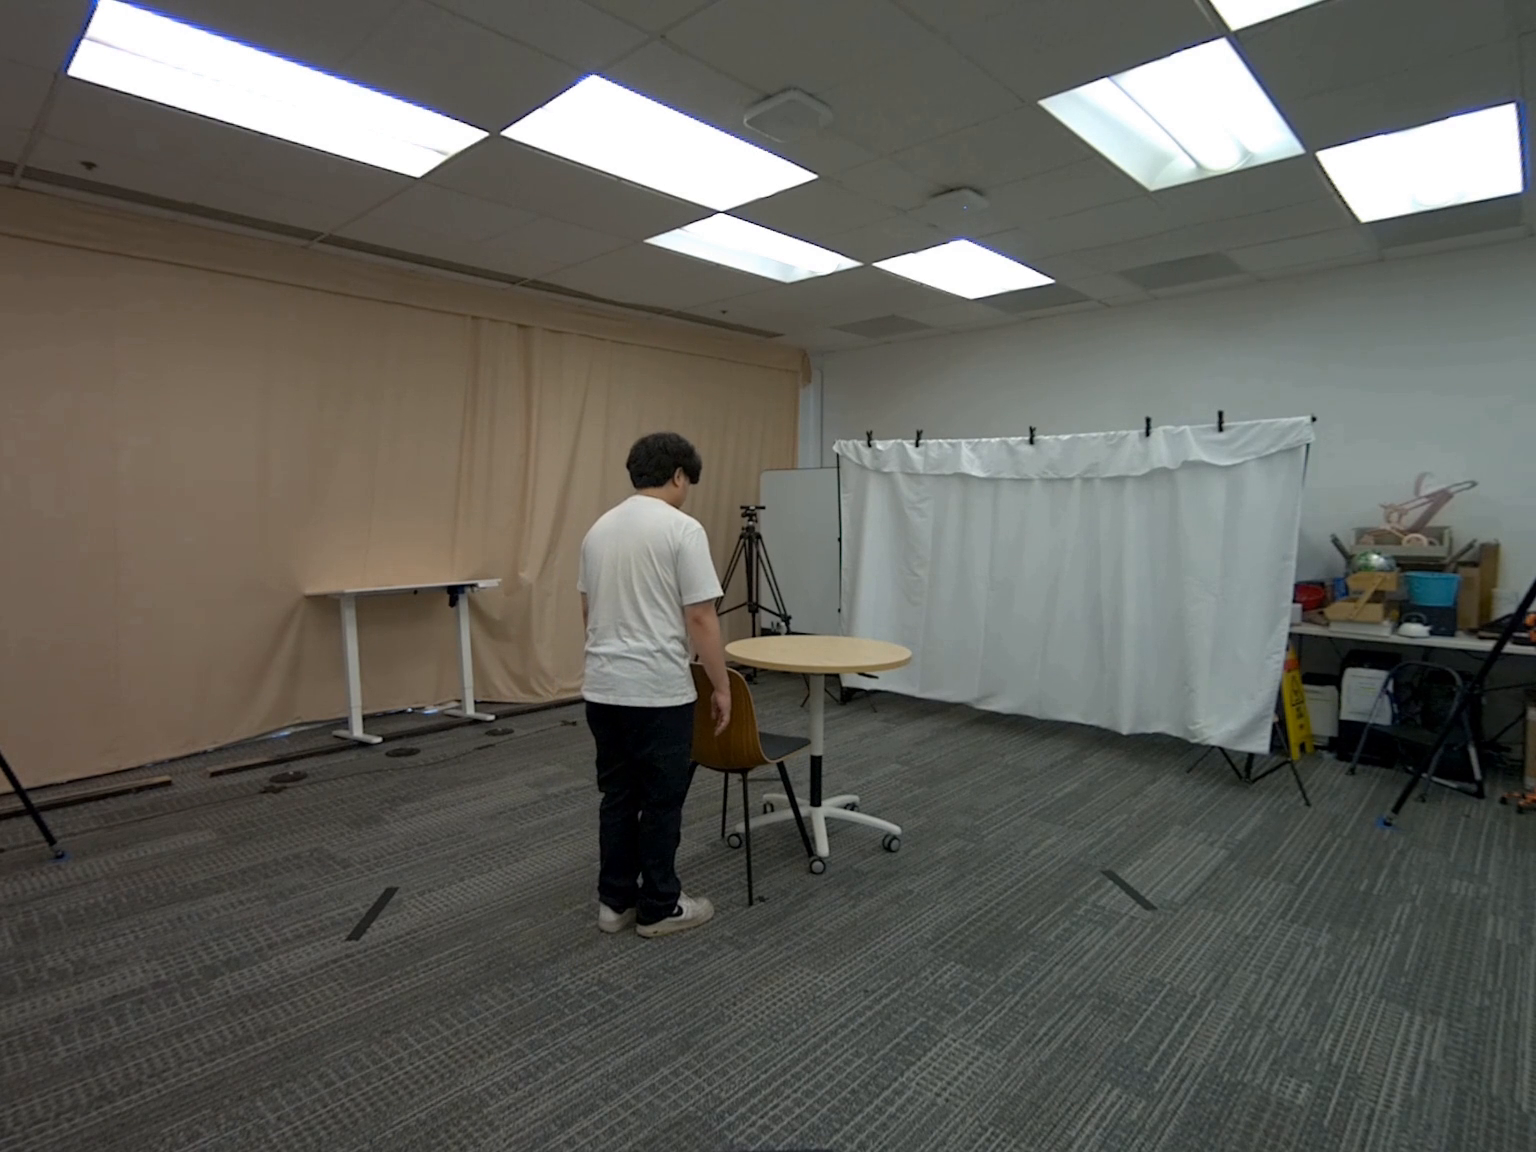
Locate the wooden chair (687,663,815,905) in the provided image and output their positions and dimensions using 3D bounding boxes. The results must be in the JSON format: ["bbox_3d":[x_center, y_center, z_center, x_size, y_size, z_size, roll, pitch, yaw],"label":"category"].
[{"bbox_3d":[-0.123,0.698,3.215,0.493,0.874,0.509,1,7,35],"label":"wooden chair"}]
